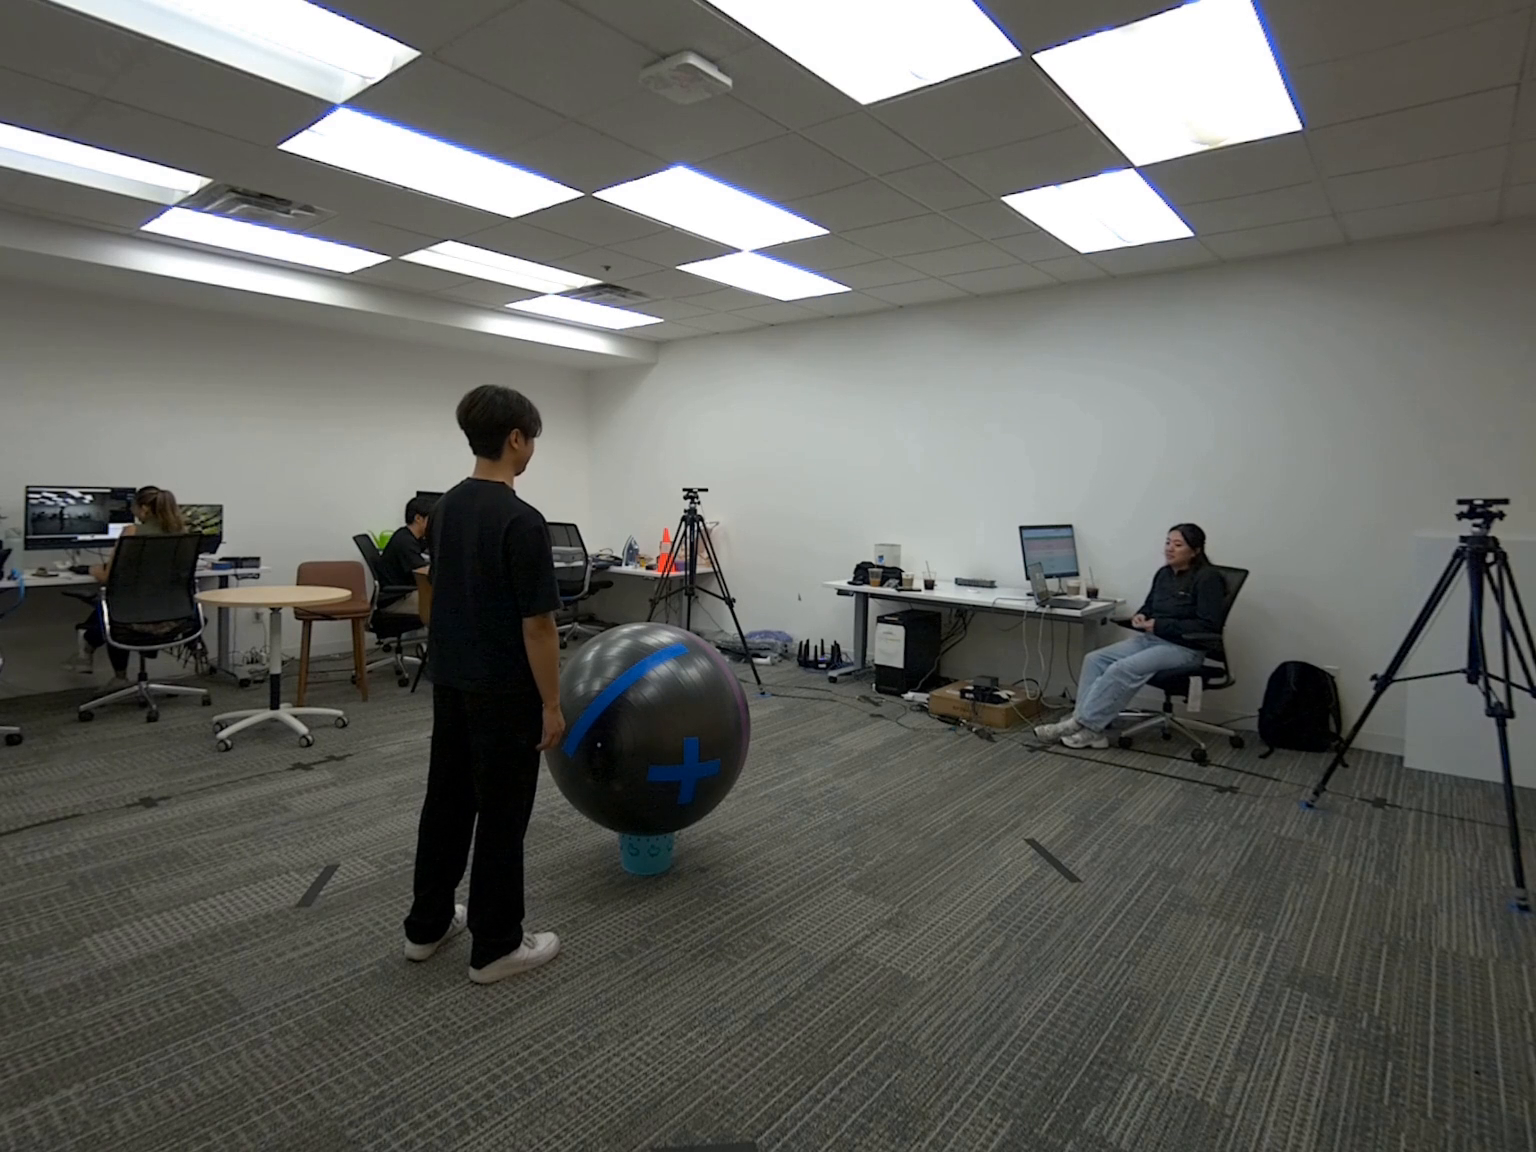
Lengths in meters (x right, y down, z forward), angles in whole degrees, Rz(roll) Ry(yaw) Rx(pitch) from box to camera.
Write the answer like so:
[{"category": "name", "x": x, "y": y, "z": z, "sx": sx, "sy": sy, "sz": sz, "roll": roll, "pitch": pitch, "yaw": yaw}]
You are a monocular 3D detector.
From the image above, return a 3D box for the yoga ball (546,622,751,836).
[{"category": "yoga ball", "x": -0.452, "y": 0.553, "z": 3.130, "sx": 0.757, "sy": 0.756, "sz": 0.761, "roll": 1, "pitch": 4, "yaw": -2}]
